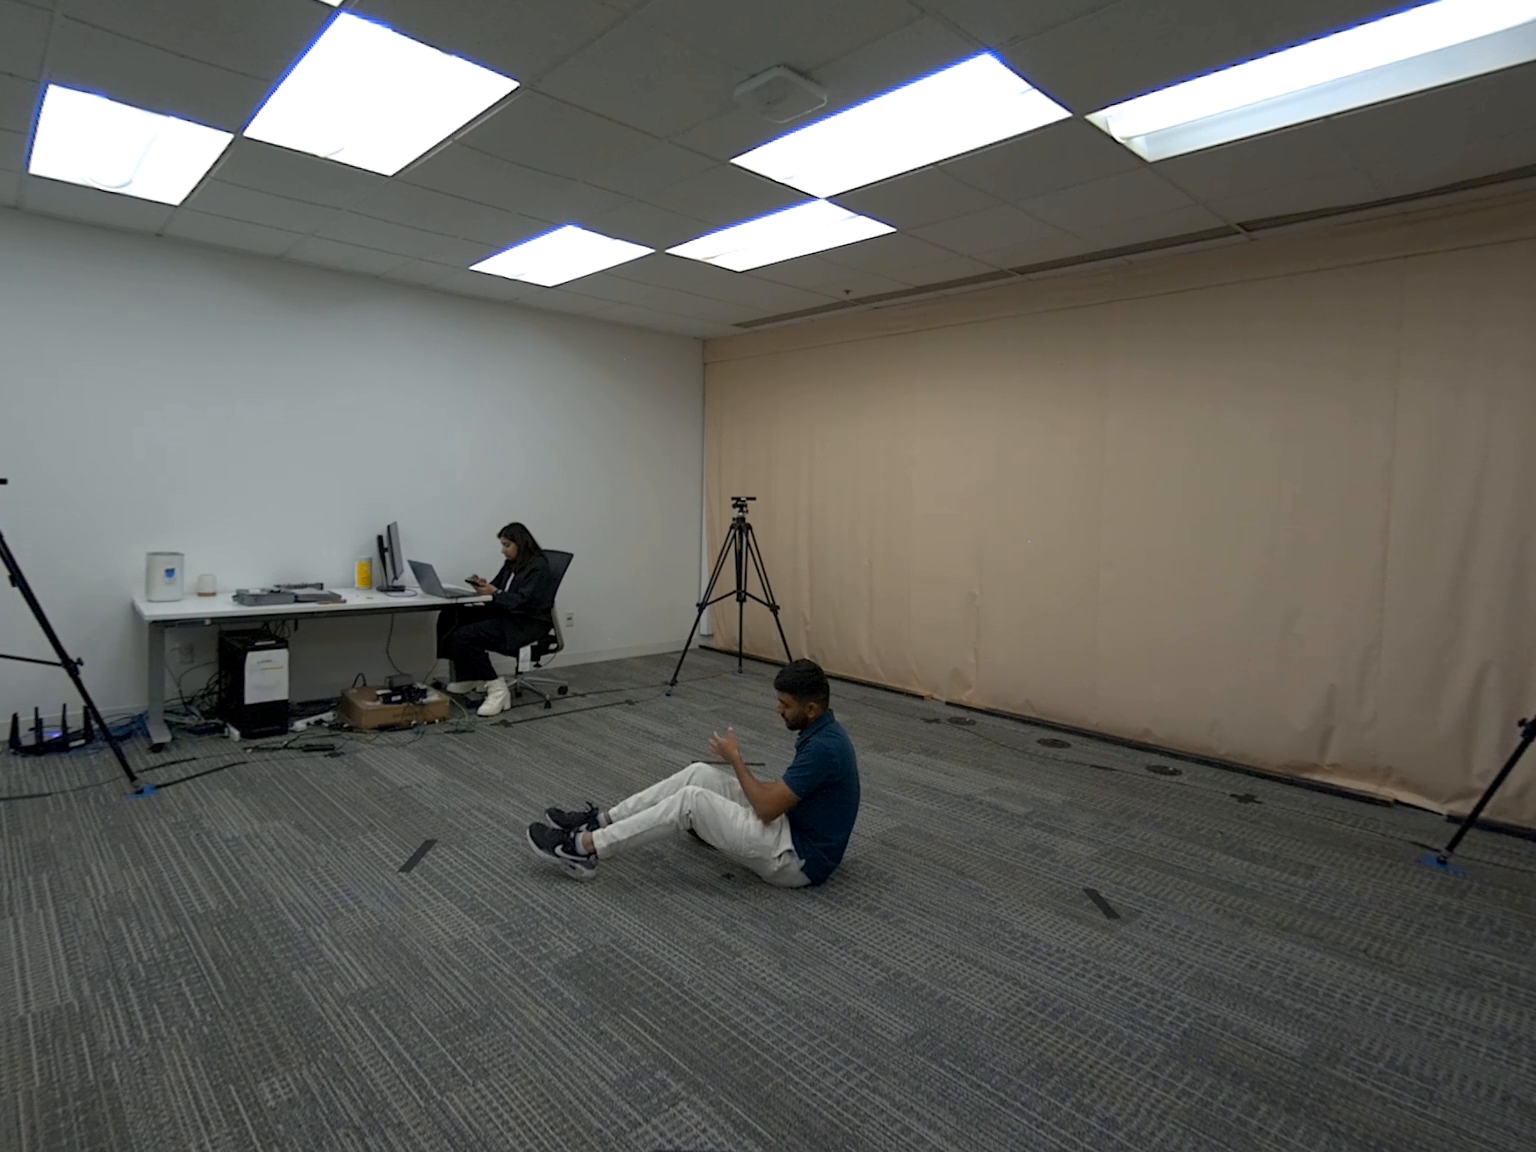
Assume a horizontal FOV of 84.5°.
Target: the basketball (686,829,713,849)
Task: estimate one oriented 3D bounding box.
[{"bbox_3d":[-0.242,0.954,3.436,0.236,0.235,0.237,1,4,-1],"label":"basketball"}]
